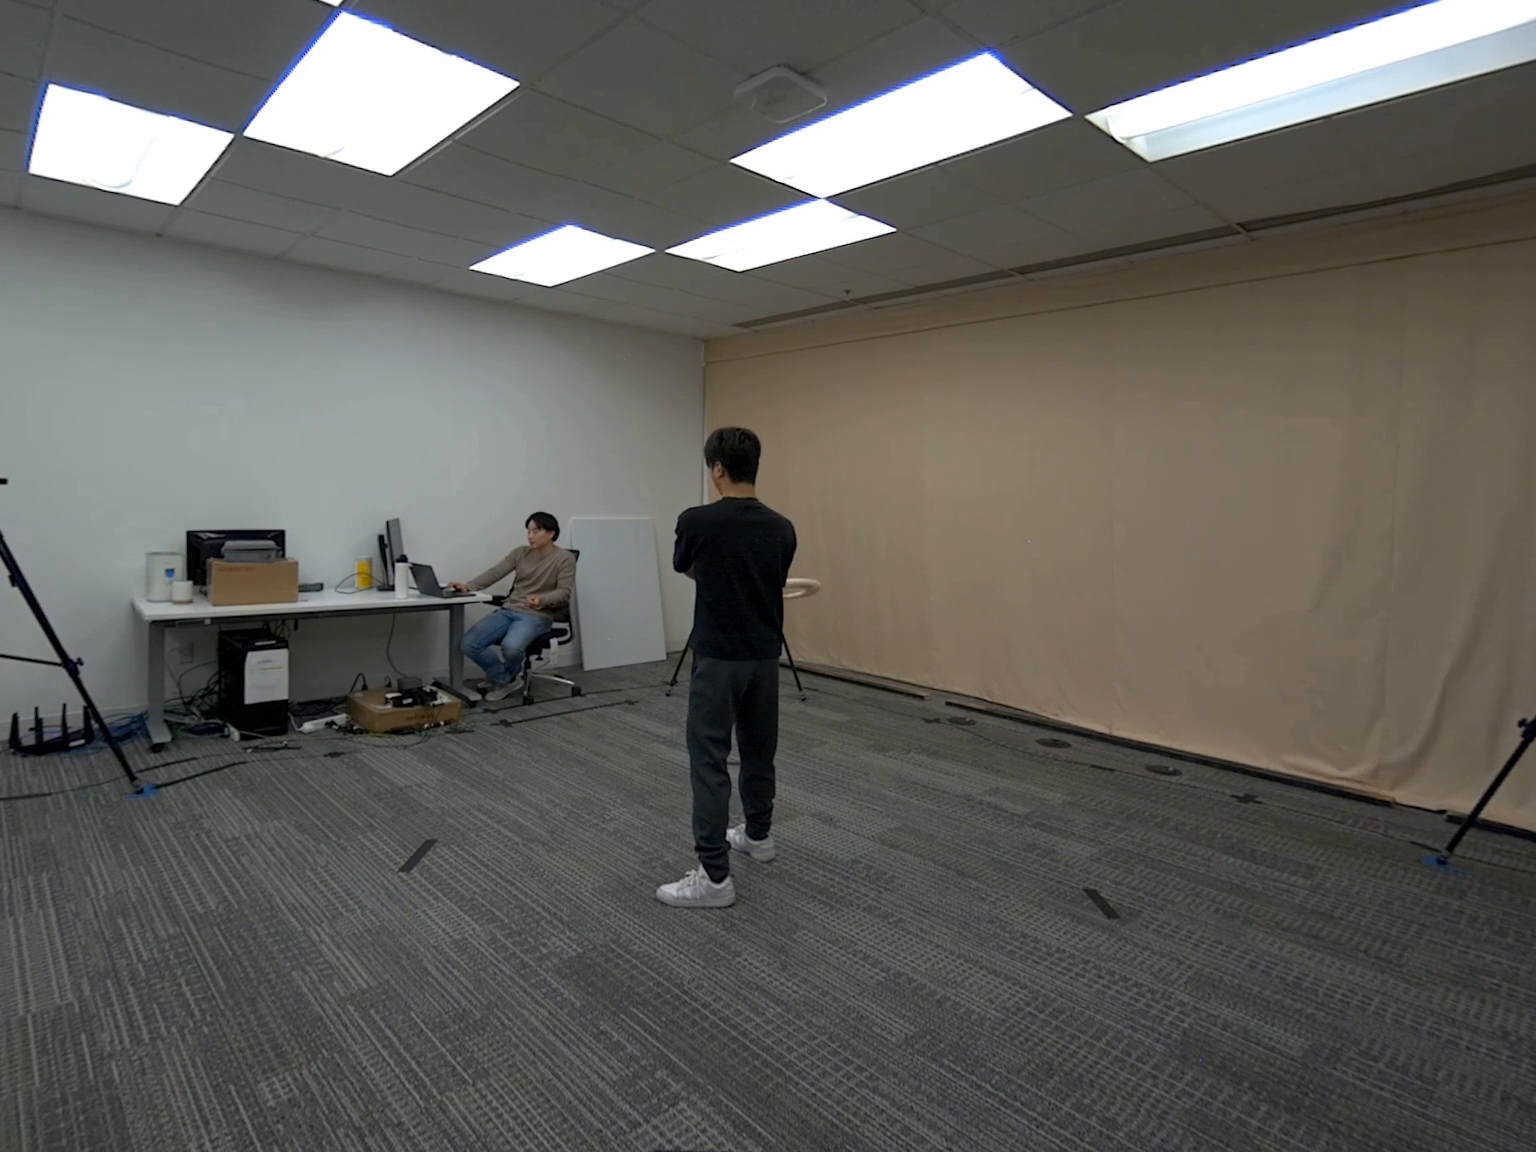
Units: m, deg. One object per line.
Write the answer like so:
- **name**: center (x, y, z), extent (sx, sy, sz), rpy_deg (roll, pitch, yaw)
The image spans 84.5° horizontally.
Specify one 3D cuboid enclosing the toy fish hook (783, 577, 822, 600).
- **toy fish hook**: center (-0.074, 0.064, 3.577), extent (0.502, 0.049, 0.222), rpy_deg (-1, -24, -13)
